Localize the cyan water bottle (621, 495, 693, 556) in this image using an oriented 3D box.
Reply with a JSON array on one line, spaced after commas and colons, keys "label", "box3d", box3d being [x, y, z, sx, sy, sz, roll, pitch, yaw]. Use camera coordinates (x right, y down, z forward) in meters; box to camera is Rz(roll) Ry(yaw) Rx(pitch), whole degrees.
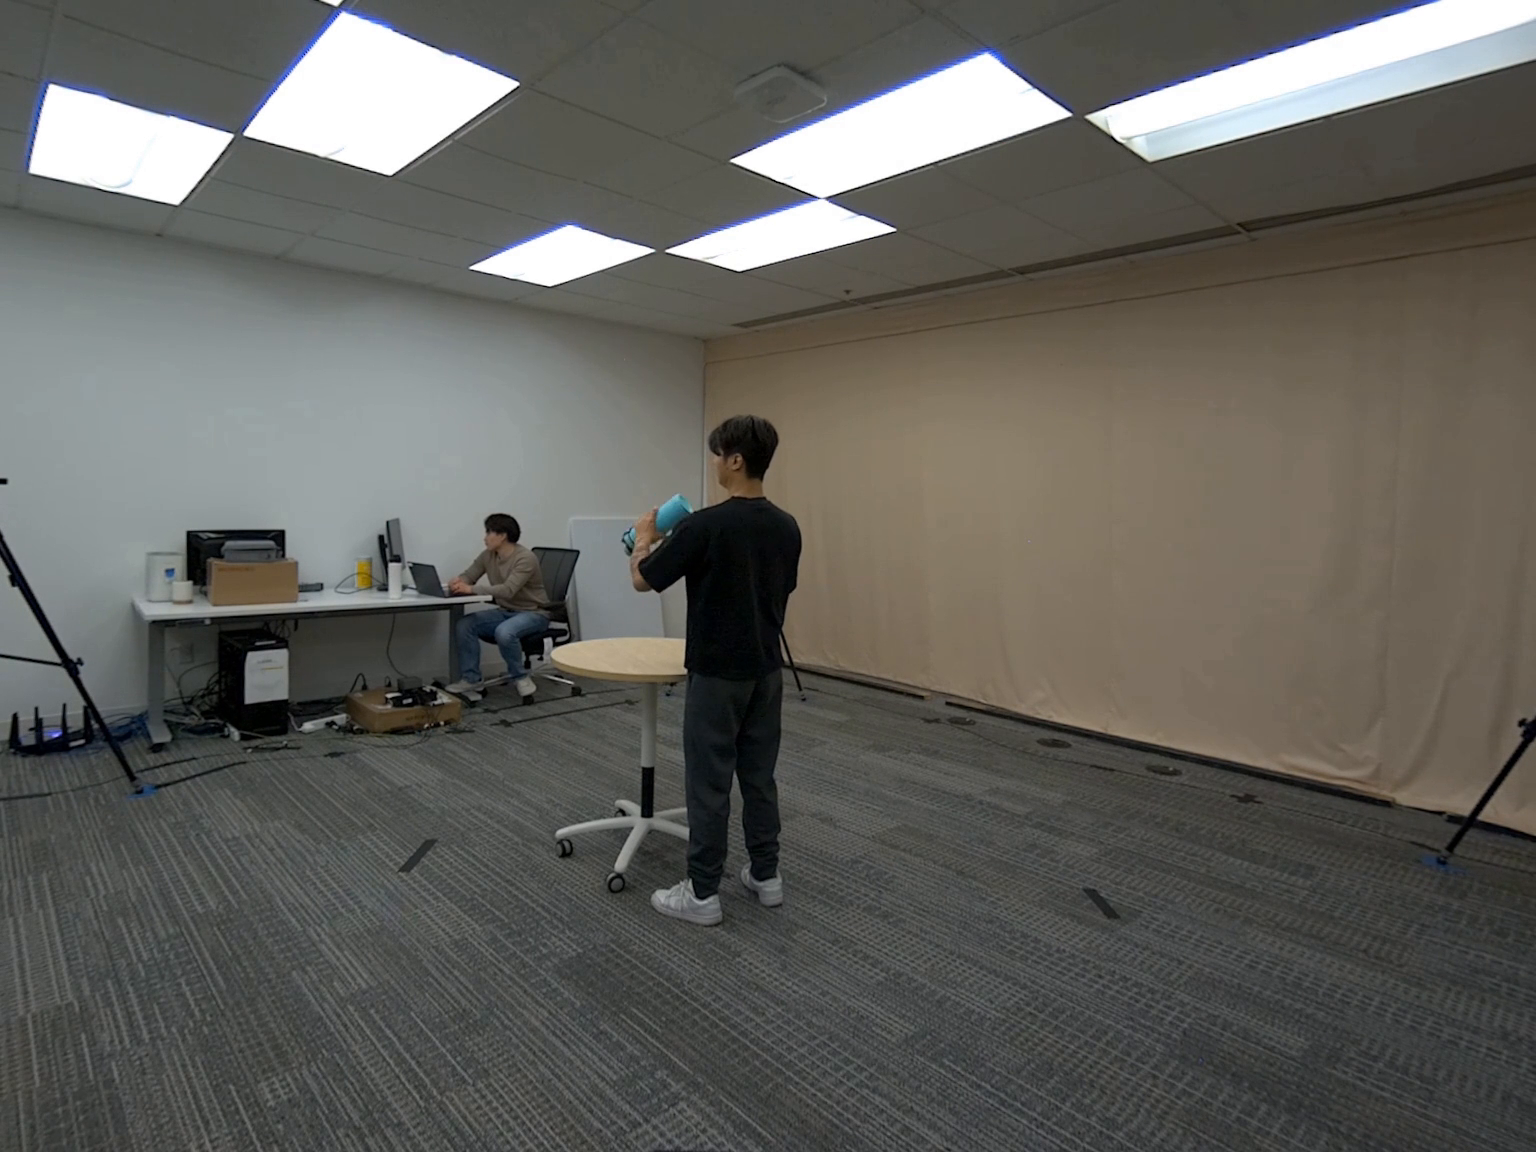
[{"label": "cyan water bottle", "box3d": [-0.401, -0.163, 2.998, 0.284, 0.092, 0.092, -36, -2, 10]}]
